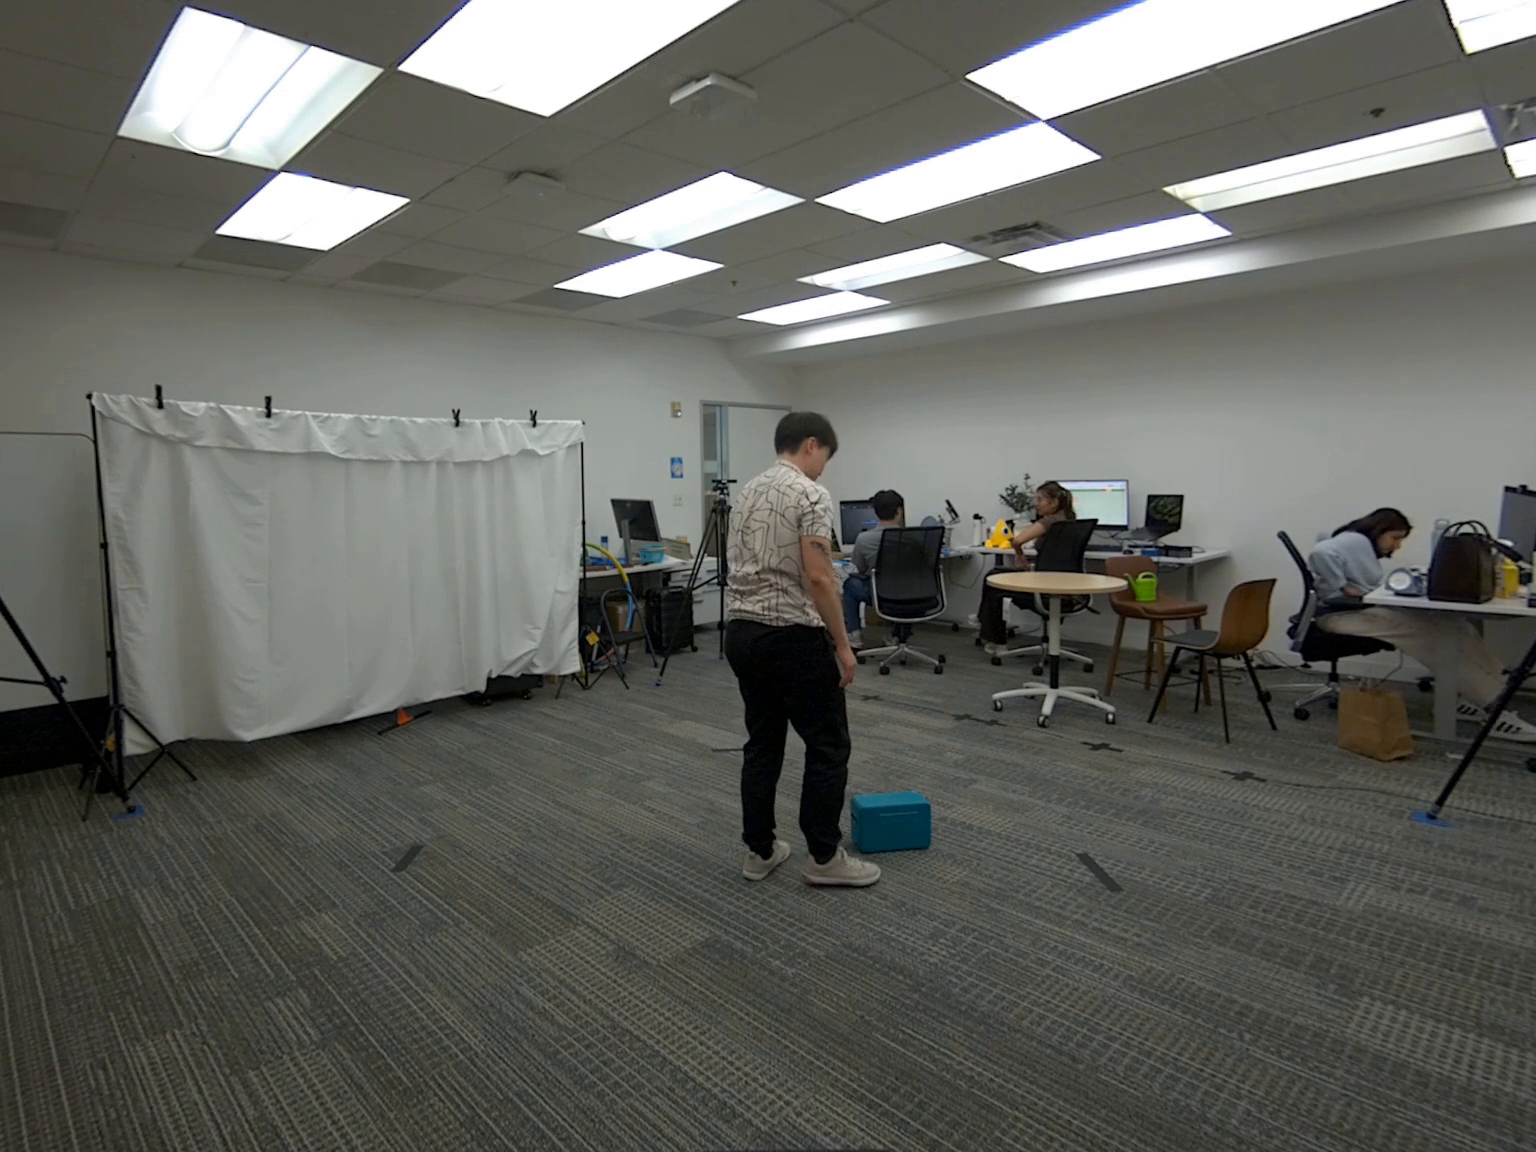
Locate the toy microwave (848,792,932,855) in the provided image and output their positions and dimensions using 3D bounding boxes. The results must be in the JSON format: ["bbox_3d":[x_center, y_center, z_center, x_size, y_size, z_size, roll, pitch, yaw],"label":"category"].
[{"bbox_3d":[0.468,0.930,3.249,0.284,0.183,0.154,-2,4,-9],"label":"toy microwave"}]
